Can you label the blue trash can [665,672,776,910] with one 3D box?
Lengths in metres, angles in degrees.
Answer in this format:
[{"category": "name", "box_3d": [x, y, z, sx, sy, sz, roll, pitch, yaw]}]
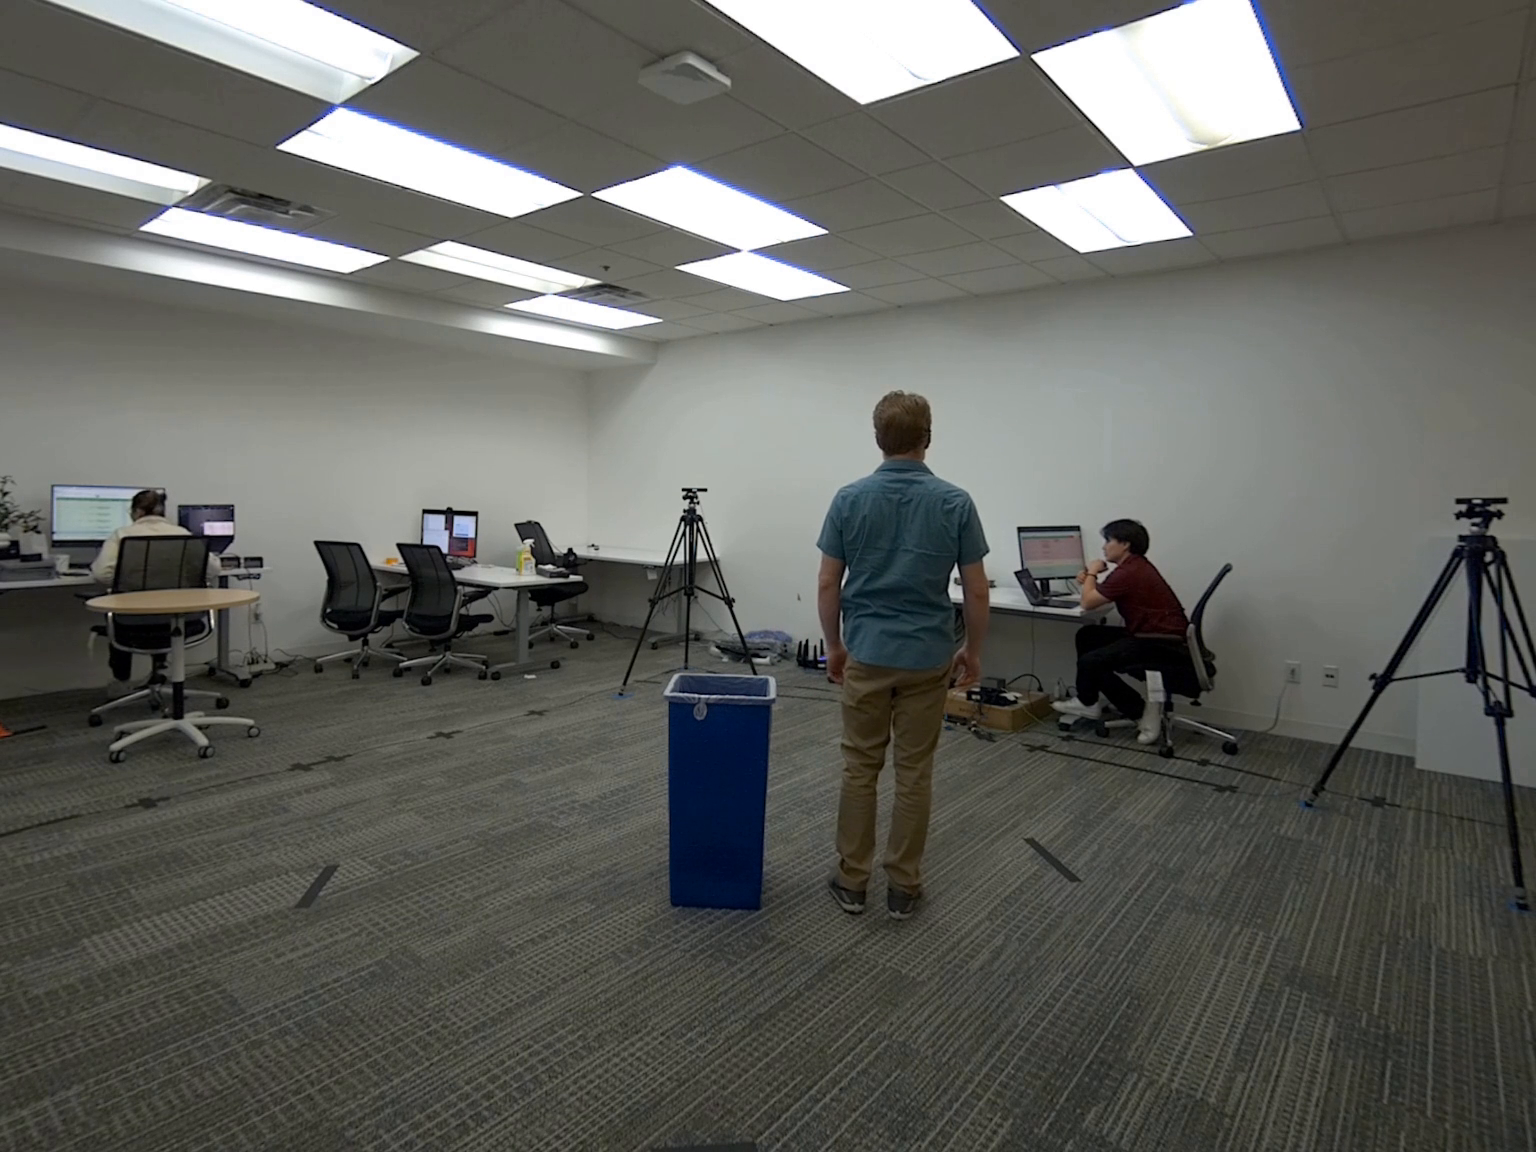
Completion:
[{"category": "blue trash can", "box_3d": [-0.168, 0.725, 2.958, 0.375, 0.712, 0.378, 0, 2, 1]}]
